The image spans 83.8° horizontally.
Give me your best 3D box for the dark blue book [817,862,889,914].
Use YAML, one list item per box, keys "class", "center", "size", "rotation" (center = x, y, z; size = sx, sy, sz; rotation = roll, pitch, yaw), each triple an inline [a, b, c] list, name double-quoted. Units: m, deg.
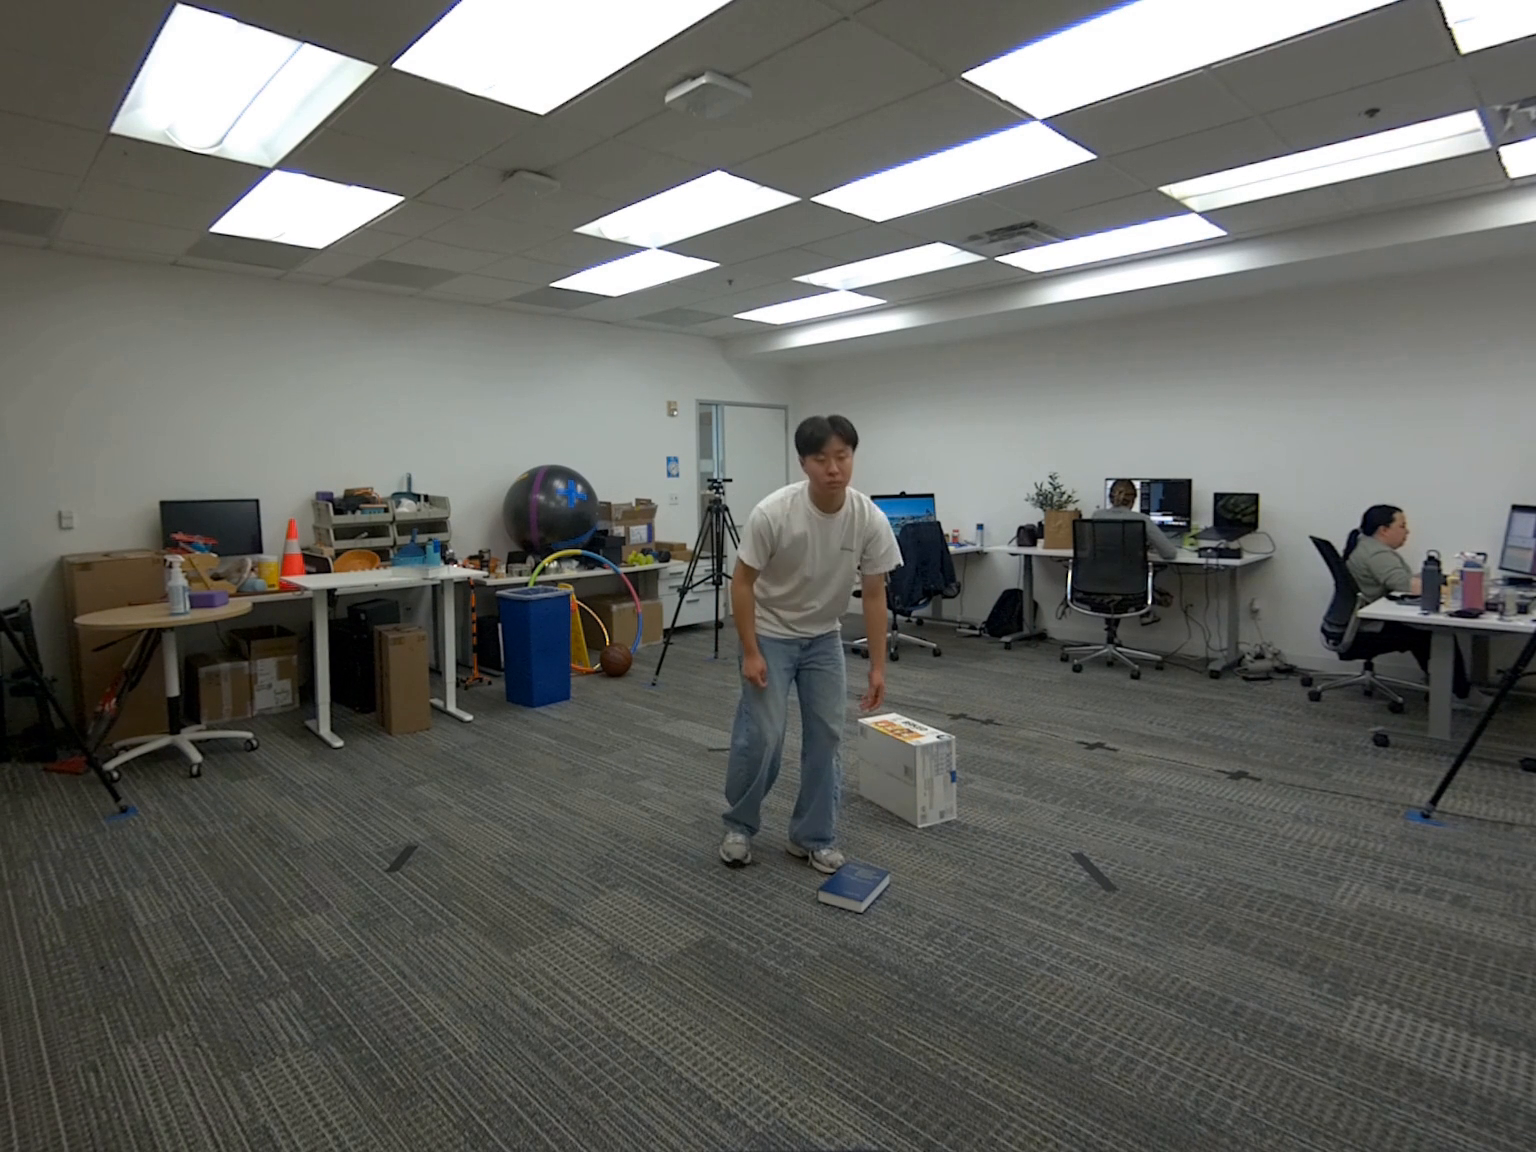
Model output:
- class: "dark blue book"
  center: [0.298, 1.043, 2.869]
  size: [0.168, 0.045, 0.240]
  rotation: [3, 7, 30]
